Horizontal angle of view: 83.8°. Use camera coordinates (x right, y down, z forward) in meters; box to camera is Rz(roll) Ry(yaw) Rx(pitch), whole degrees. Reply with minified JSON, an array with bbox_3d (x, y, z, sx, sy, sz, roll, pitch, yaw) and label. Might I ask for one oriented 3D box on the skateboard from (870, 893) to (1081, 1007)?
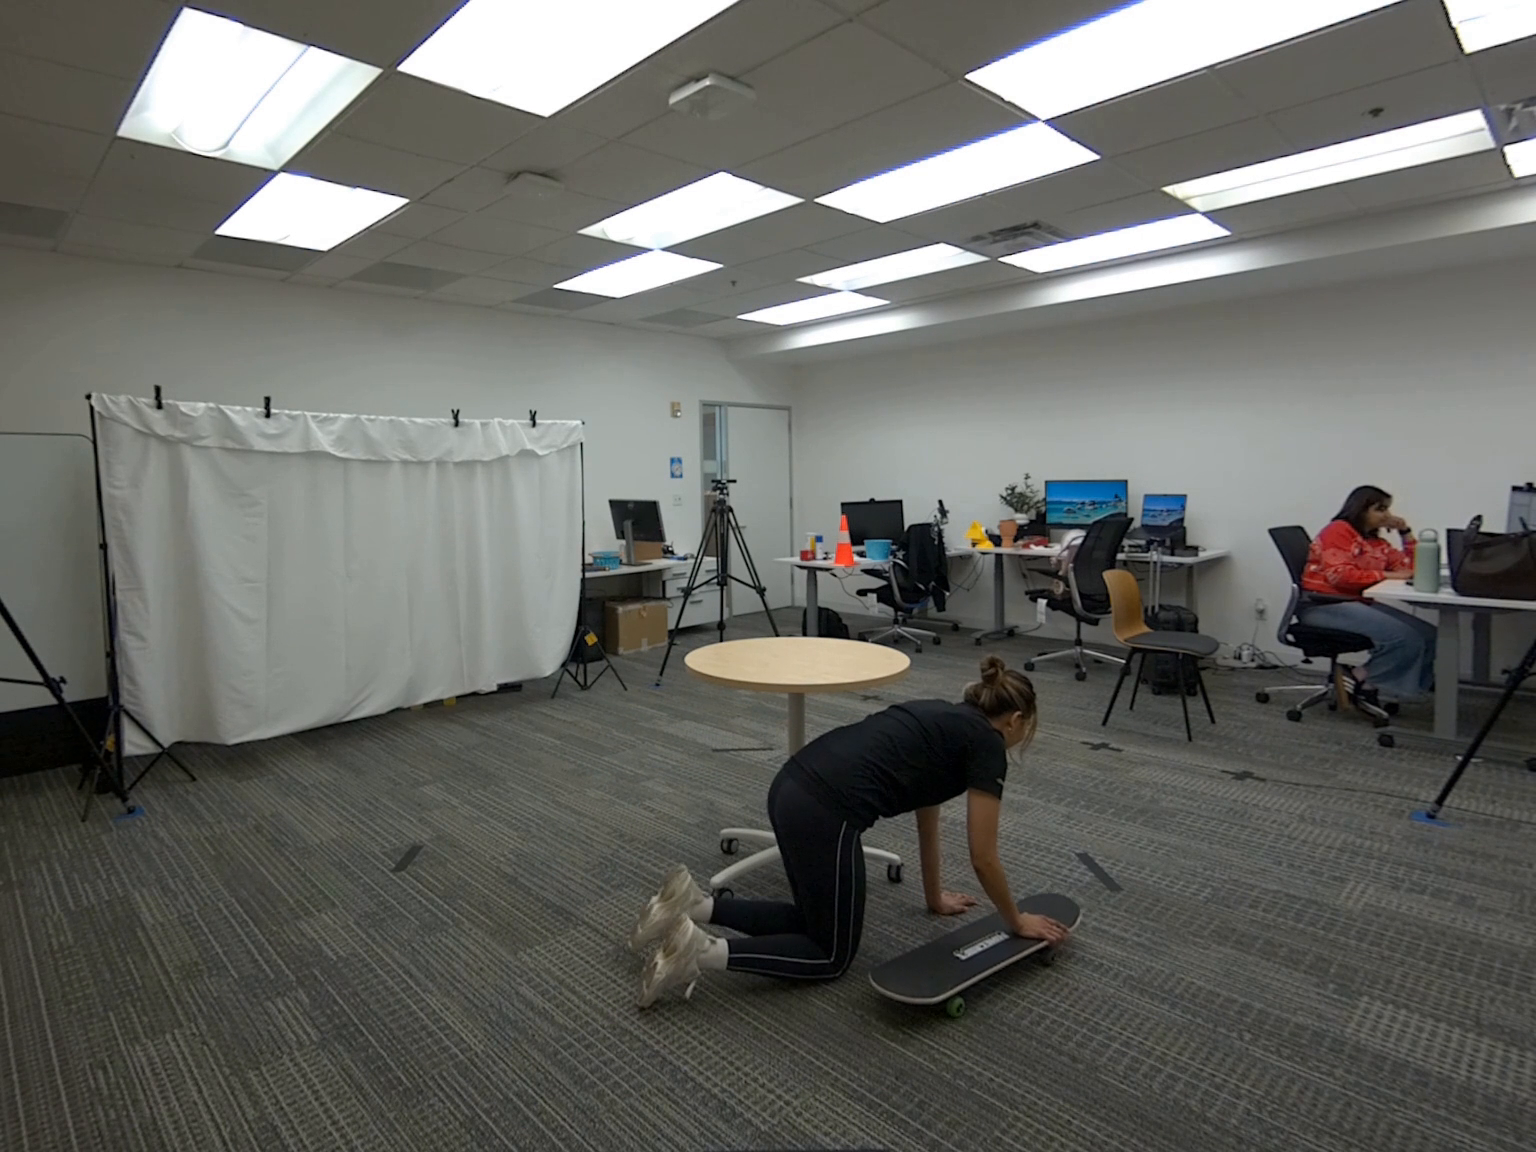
[{"bbox_3d":[0.603,1.059,2.380,0.766,0.110,0.199,-6,6,-35],"label":"skateboard"}]
